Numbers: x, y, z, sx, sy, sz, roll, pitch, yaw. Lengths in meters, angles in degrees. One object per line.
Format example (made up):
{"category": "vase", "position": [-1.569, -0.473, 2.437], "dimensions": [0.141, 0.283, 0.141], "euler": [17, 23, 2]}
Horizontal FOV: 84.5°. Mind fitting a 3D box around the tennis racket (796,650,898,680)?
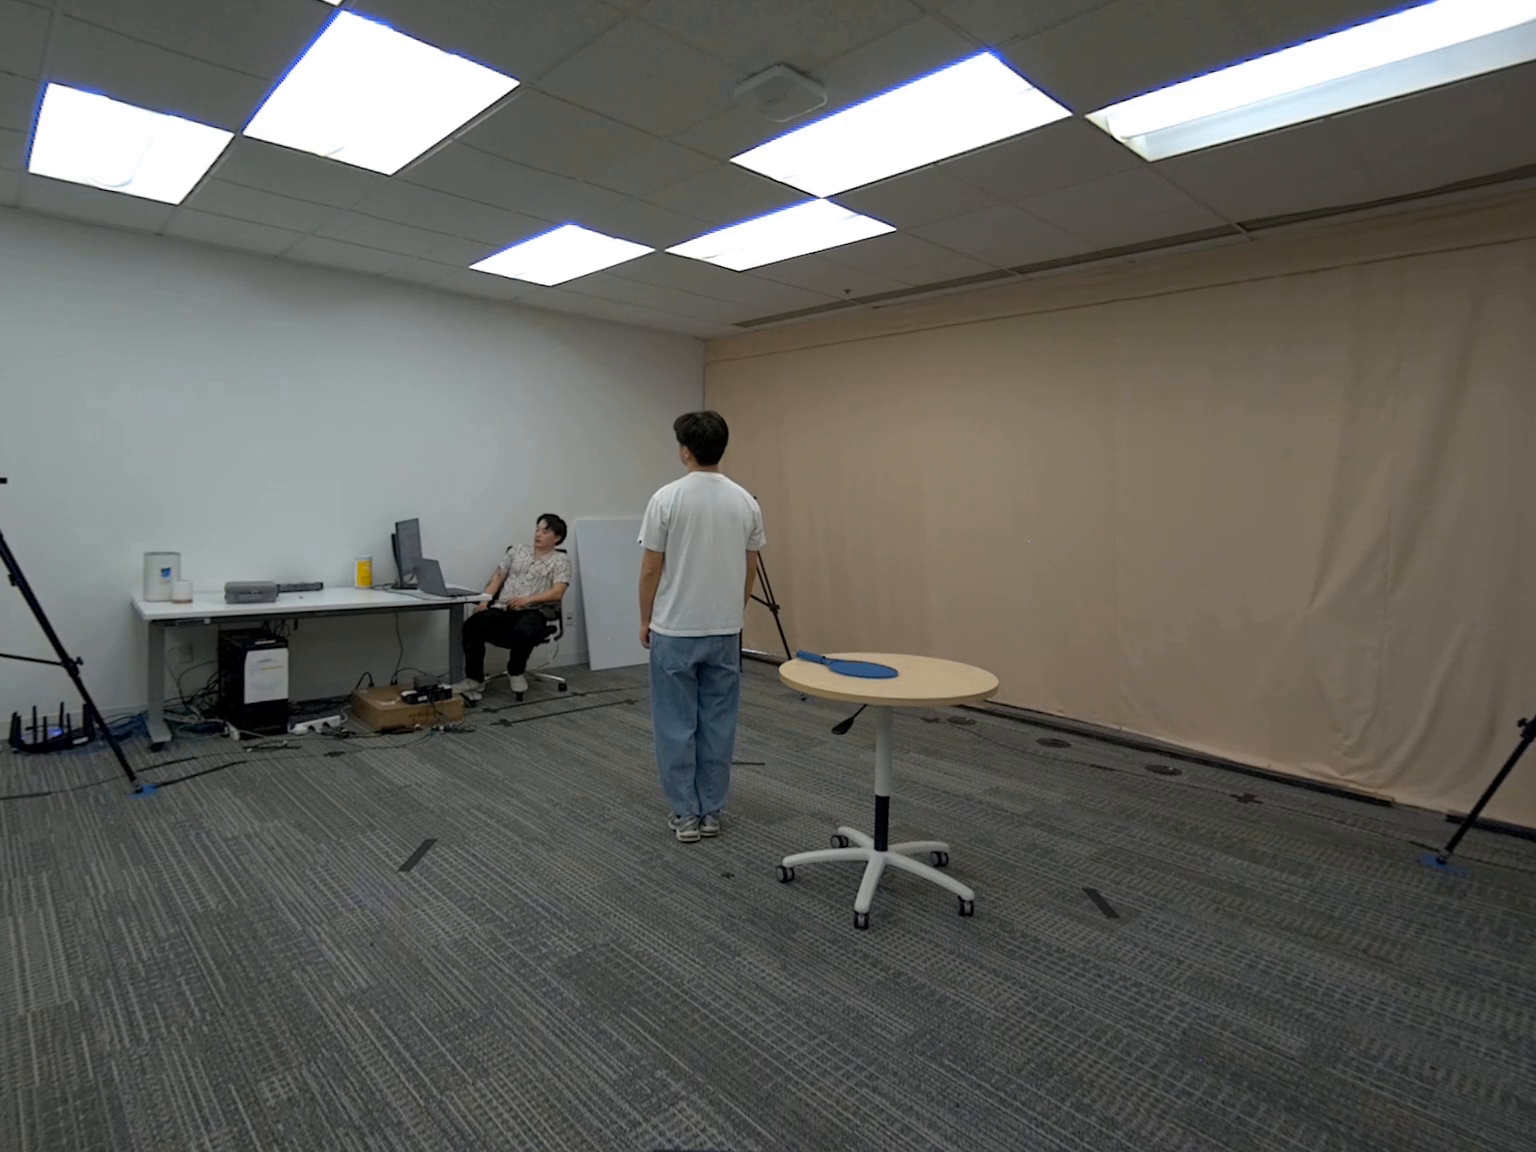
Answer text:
{"category": "tennis racket", "position": [0.276, 0.327, 3.076], "dimensions": [0.209, 0.031, 0.444], "euler": [-4, 9, -44]}
